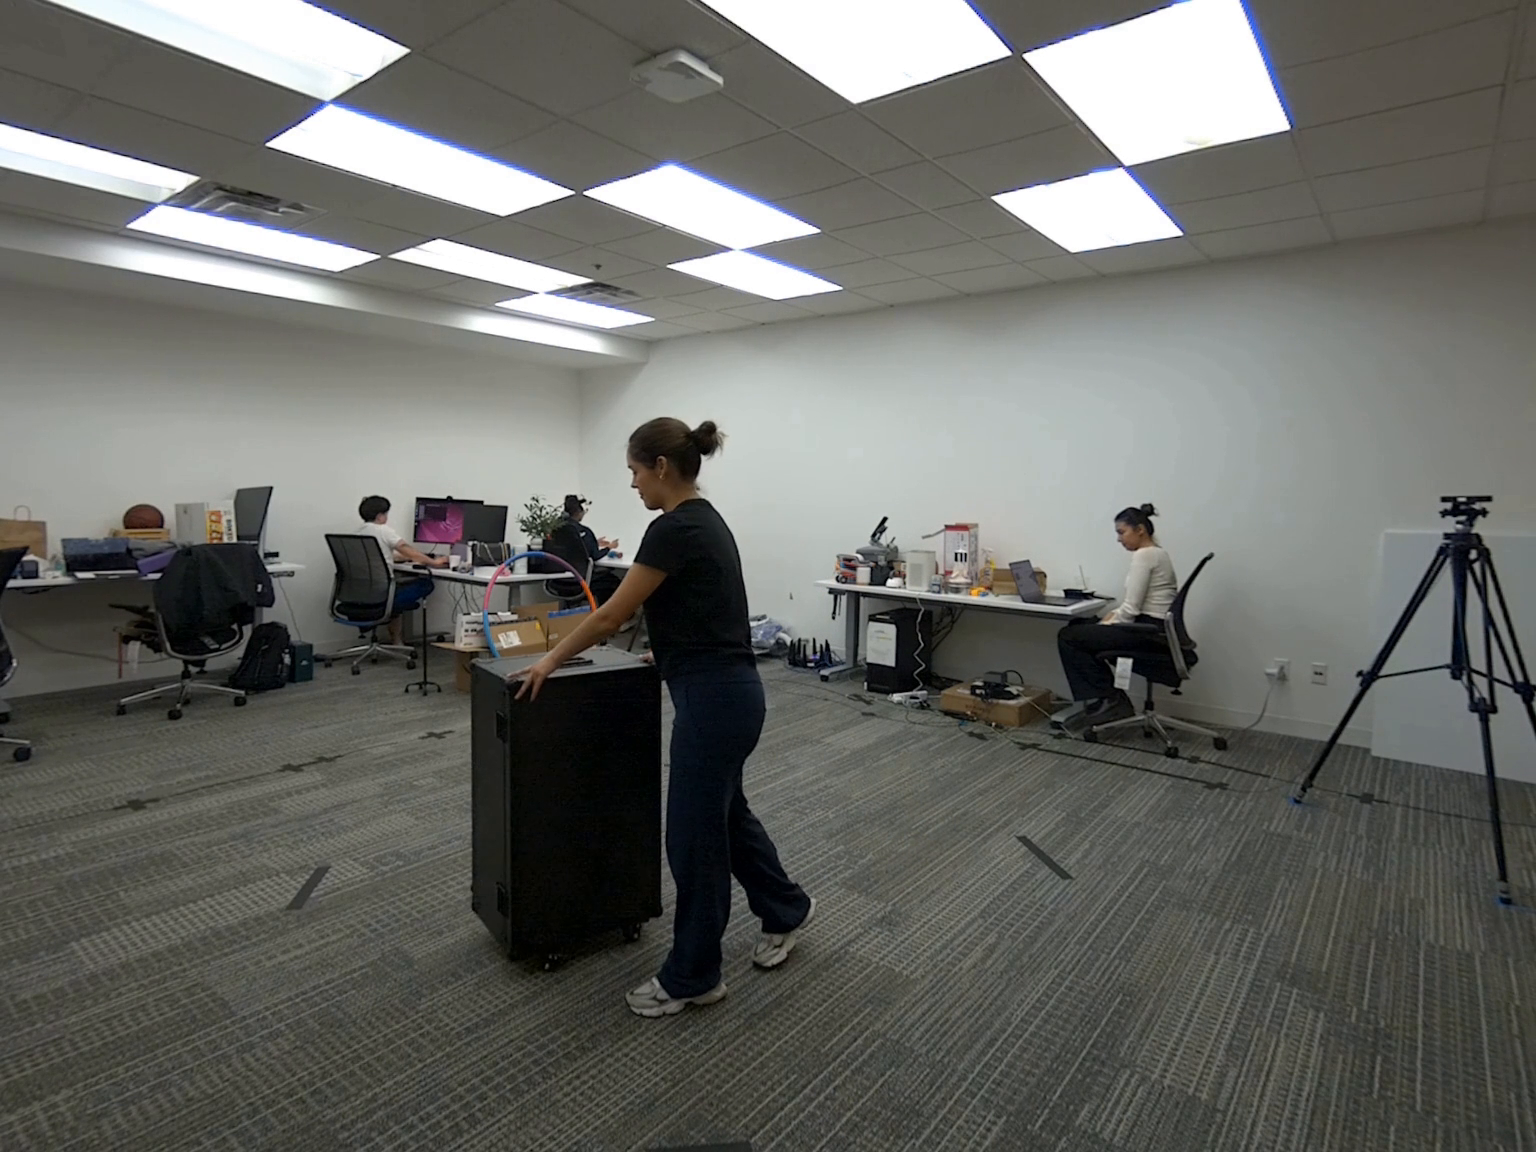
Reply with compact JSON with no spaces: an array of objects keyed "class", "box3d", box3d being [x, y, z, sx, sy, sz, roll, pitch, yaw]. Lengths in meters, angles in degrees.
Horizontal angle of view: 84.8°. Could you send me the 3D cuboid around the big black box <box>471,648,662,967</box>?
[{"class":"big black box","box3d":[-0.625,0.683,2.635,0.507,0.860,0.408,-3,3,-34]}]
